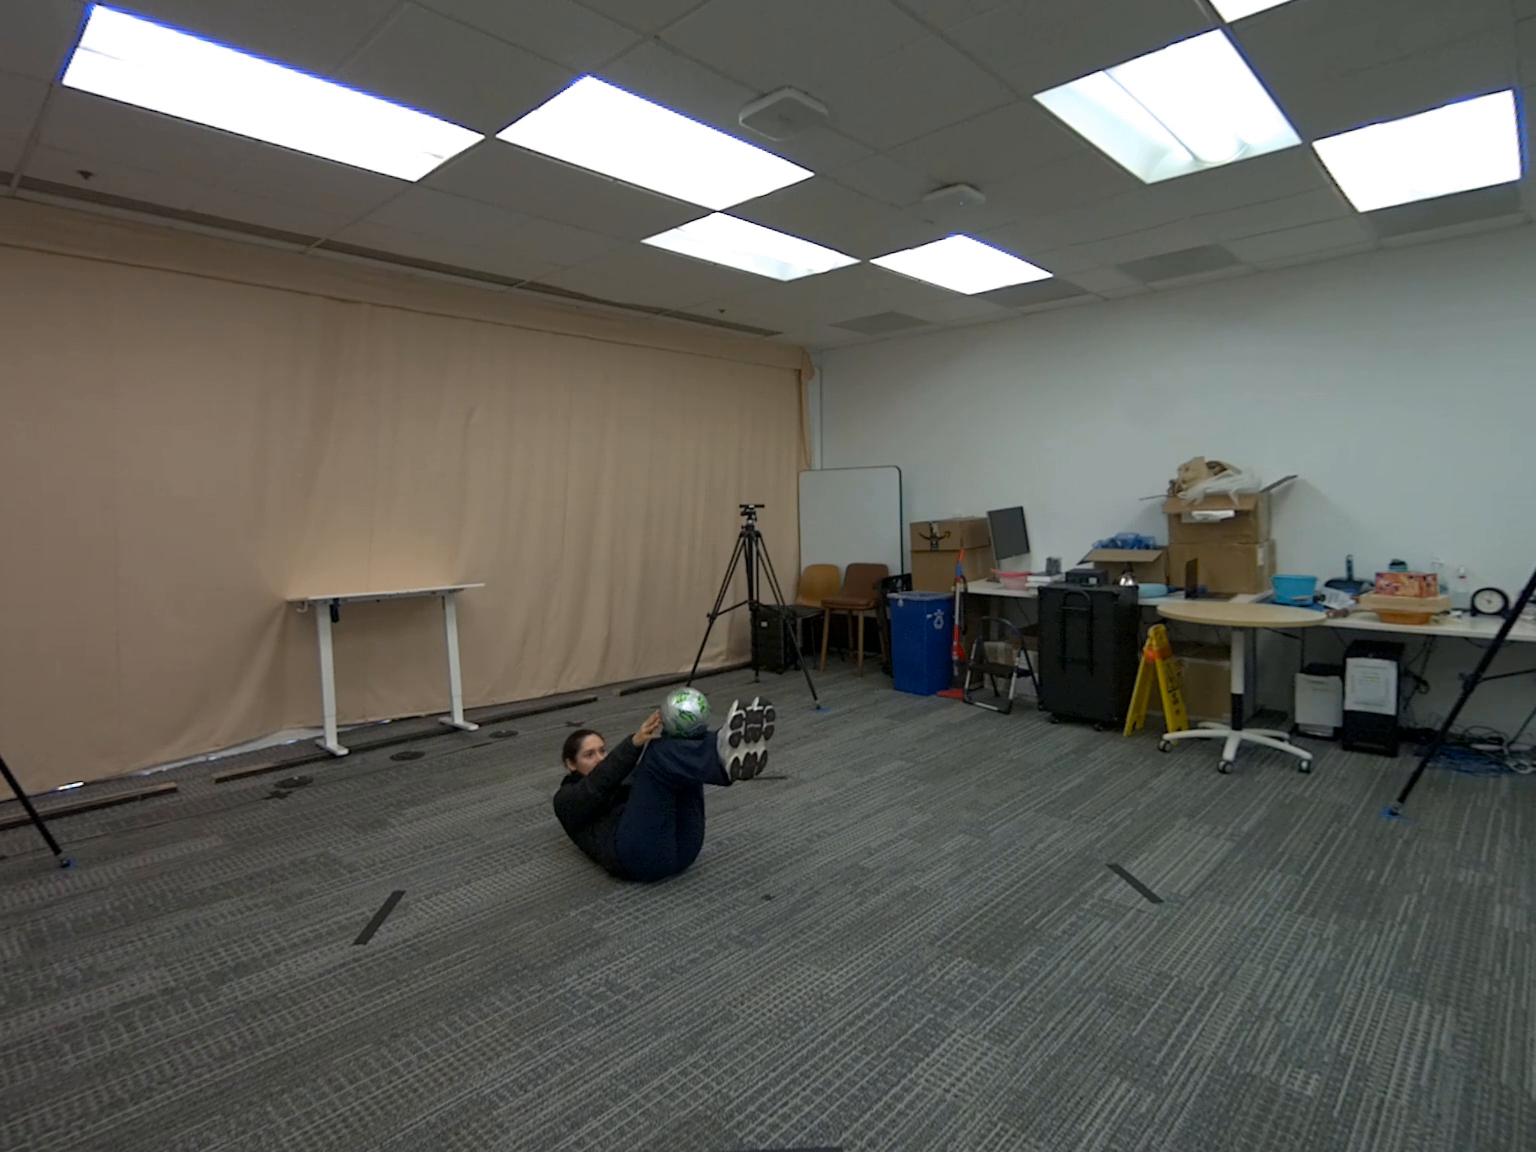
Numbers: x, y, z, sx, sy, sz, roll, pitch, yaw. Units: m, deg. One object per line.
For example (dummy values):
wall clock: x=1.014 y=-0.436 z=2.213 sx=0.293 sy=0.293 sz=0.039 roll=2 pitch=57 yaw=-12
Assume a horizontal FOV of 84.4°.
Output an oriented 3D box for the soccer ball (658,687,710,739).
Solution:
soccer ball: x=-0.293 y=0.498 z=3.051 sx=0.187 sy=0.187 sz=0.188 roll=2 pitch=5 yaw=-2
